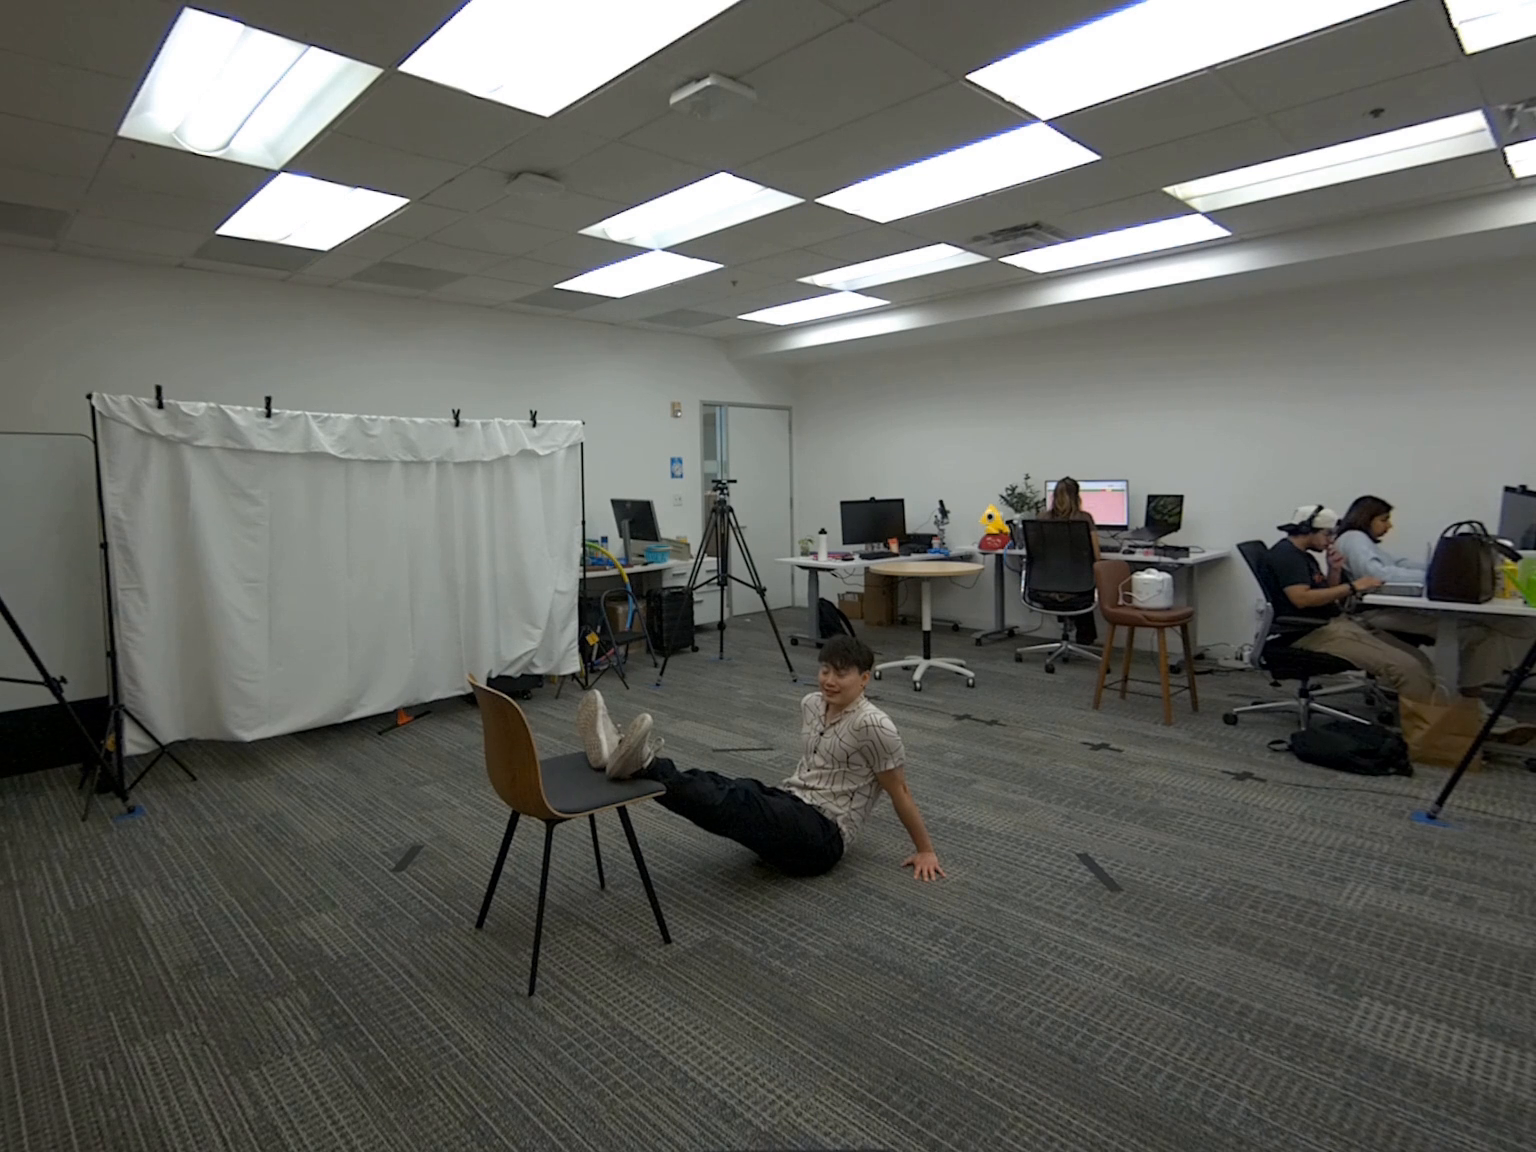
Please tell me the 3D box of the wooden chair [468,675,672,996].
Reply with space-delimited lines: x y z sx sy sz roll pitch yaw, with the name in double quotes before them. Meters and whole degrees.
"wooden chair" -0.604 0.687 2.615 0.511 0.872 0.492 -9 8 -35
